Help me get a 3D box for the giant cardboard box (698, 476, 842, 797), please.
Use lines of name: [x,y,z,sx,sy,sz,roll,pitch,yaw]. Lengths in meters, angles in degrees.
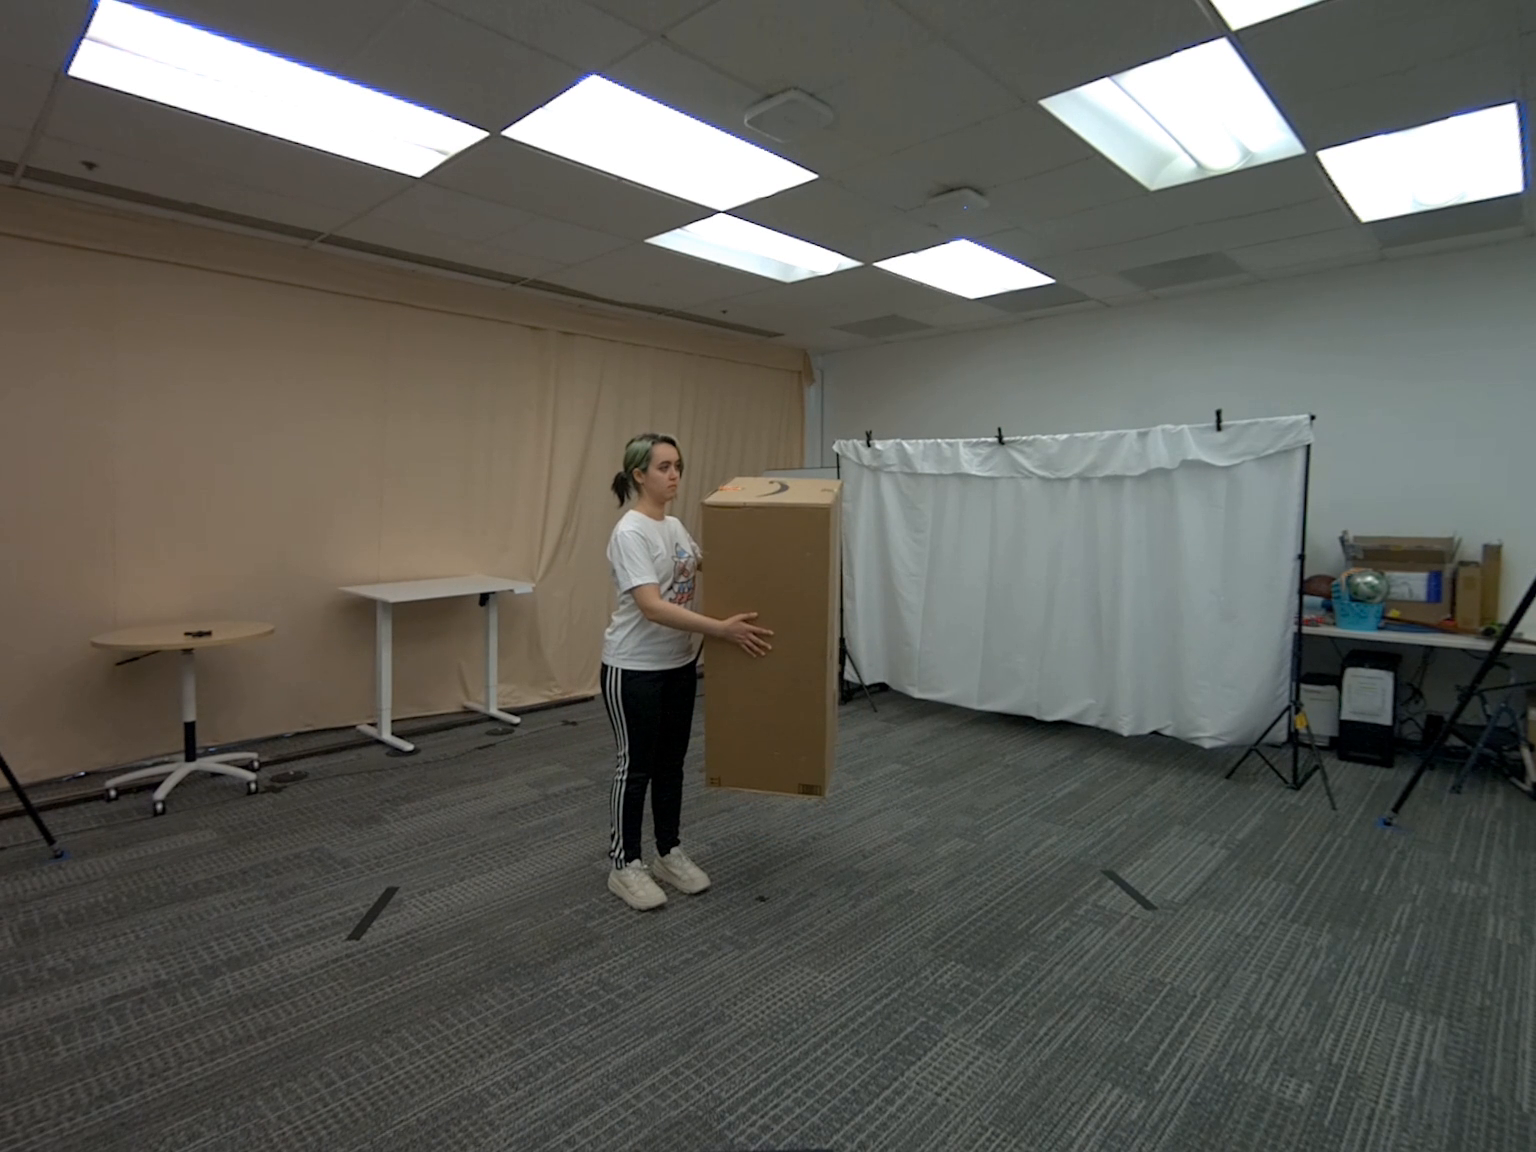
giant cardboard box: [0.033,0.194,3.059,0.432,1.018,0.574,3,13,11]
